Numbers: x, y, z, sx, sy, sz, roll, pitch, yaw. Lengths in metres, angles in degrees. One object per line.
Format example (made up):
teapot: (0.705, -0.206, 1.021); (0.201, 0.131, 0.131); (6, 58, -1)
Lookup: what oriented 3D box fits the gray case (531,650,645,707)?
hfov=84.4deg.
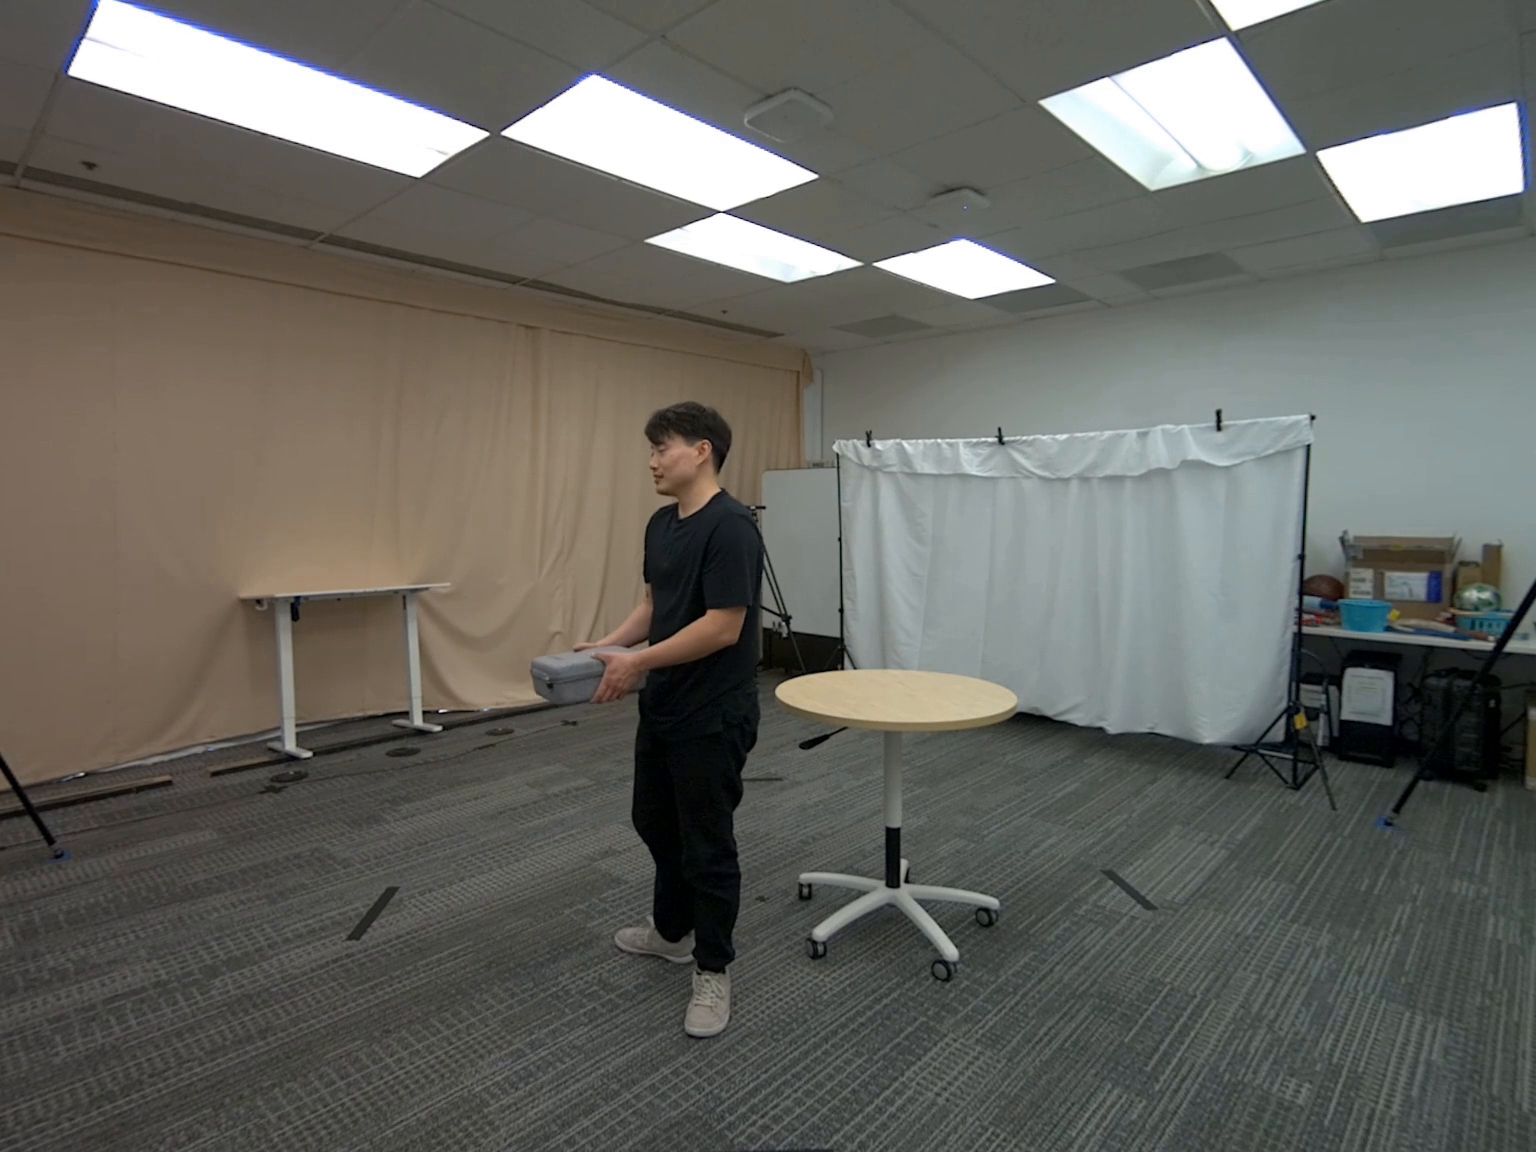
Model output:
gray case: (-0.479, 0.260, 2.234); (0.254, 0.104, 0.264); (-7, 2, -30)
